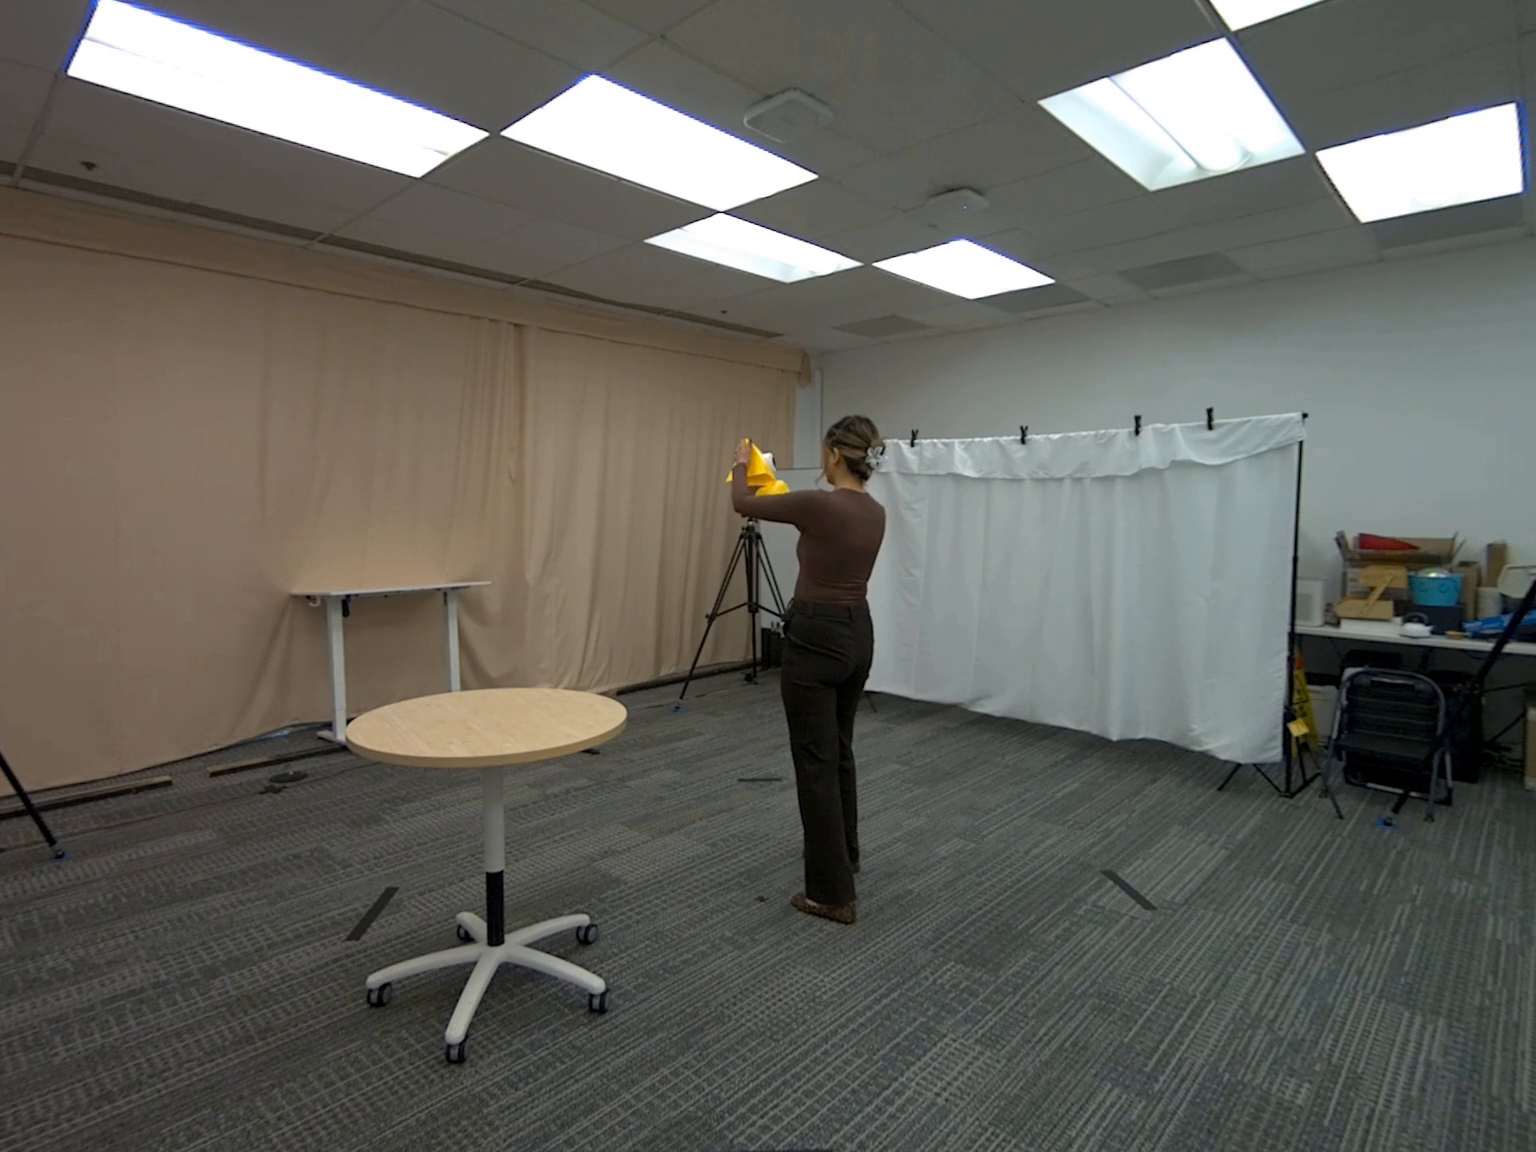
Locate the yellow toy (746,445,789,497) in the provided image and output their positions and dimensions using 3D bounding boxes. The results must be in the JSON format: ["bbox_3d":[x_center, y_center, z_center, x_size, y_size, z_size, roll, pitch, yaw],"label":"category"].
[{"bbox_3d":[-0.026,-0.419,3.305,0.211,0.231,0.187,-7,-2,42],"label":"yellow toy"}]
